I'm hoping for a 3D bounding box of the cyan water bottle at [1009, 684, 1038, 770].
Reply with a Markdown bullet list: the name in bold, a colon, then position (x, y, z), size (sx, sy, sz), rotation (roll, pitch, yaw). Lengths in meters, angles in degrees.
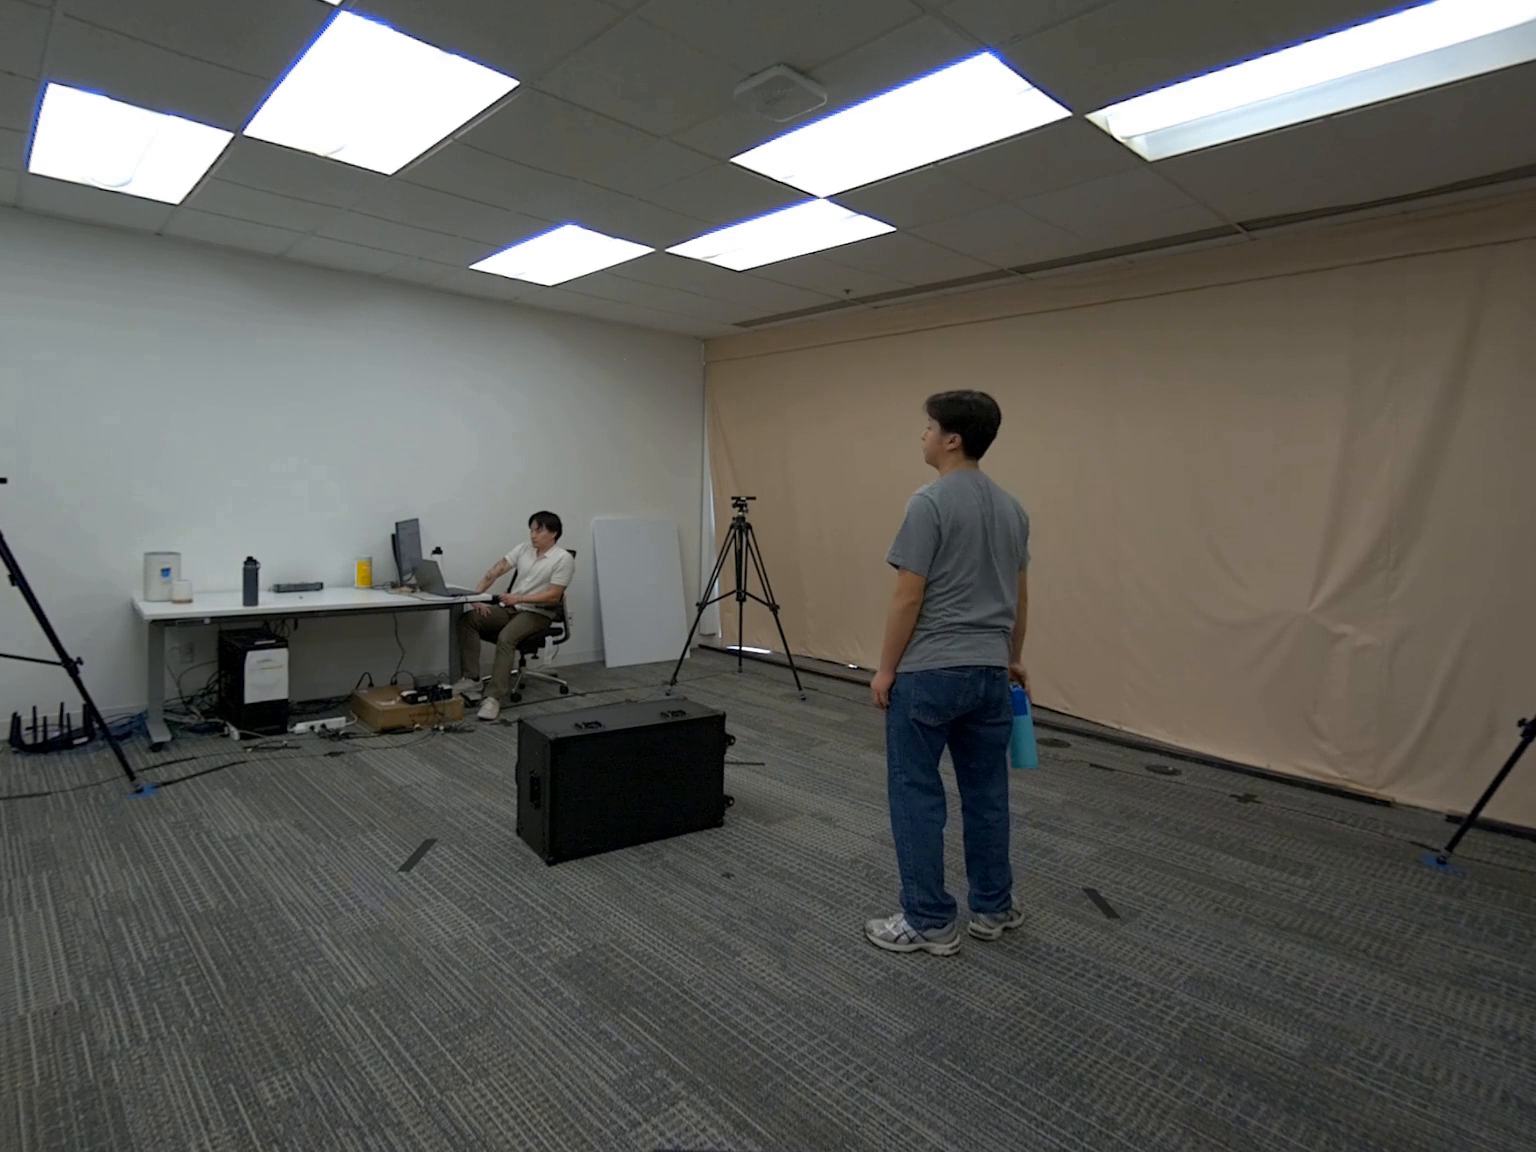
- **cyan water bottle**: position (0.823, 0.503, 2.835), size (0.092, 0.284, 0.092), rotation (-4, -2, -1)
